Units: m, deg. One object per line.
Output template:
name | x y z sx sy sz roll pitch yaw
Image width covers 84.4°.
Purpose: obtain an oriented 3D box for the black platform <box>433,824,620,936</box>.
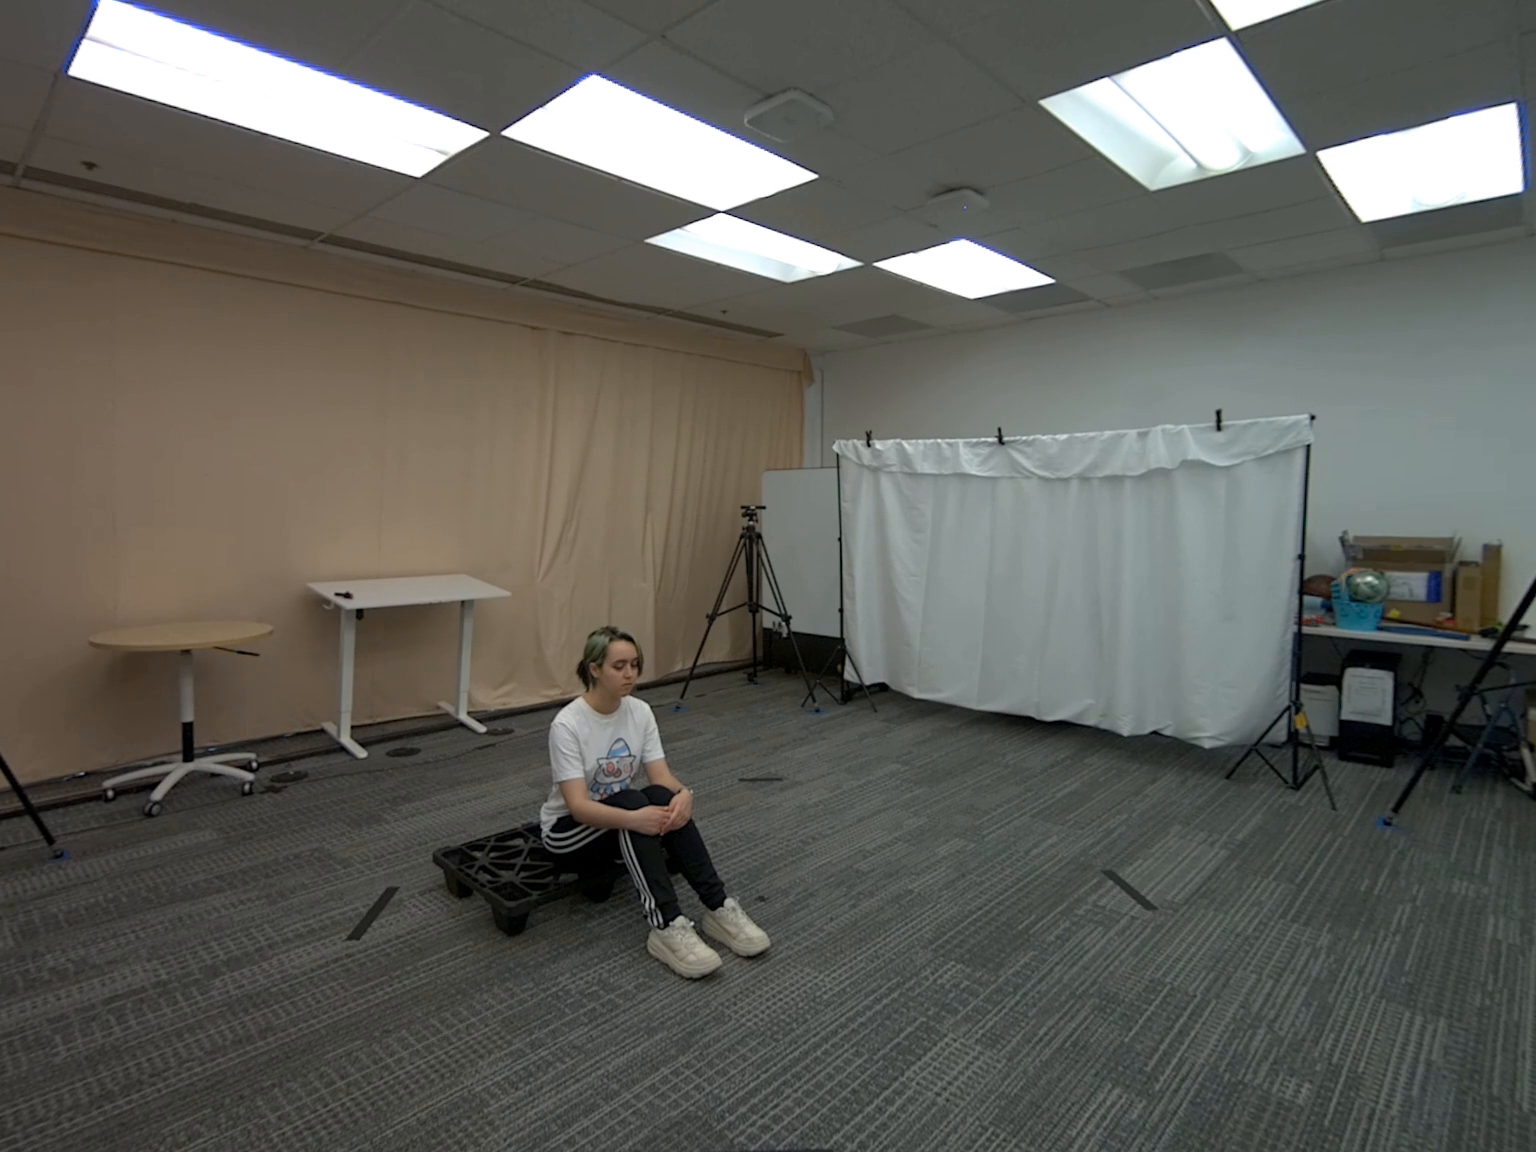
black platform | -0.743 1.069 3.143 0.781 0.143 0.625 -6 7 -43
